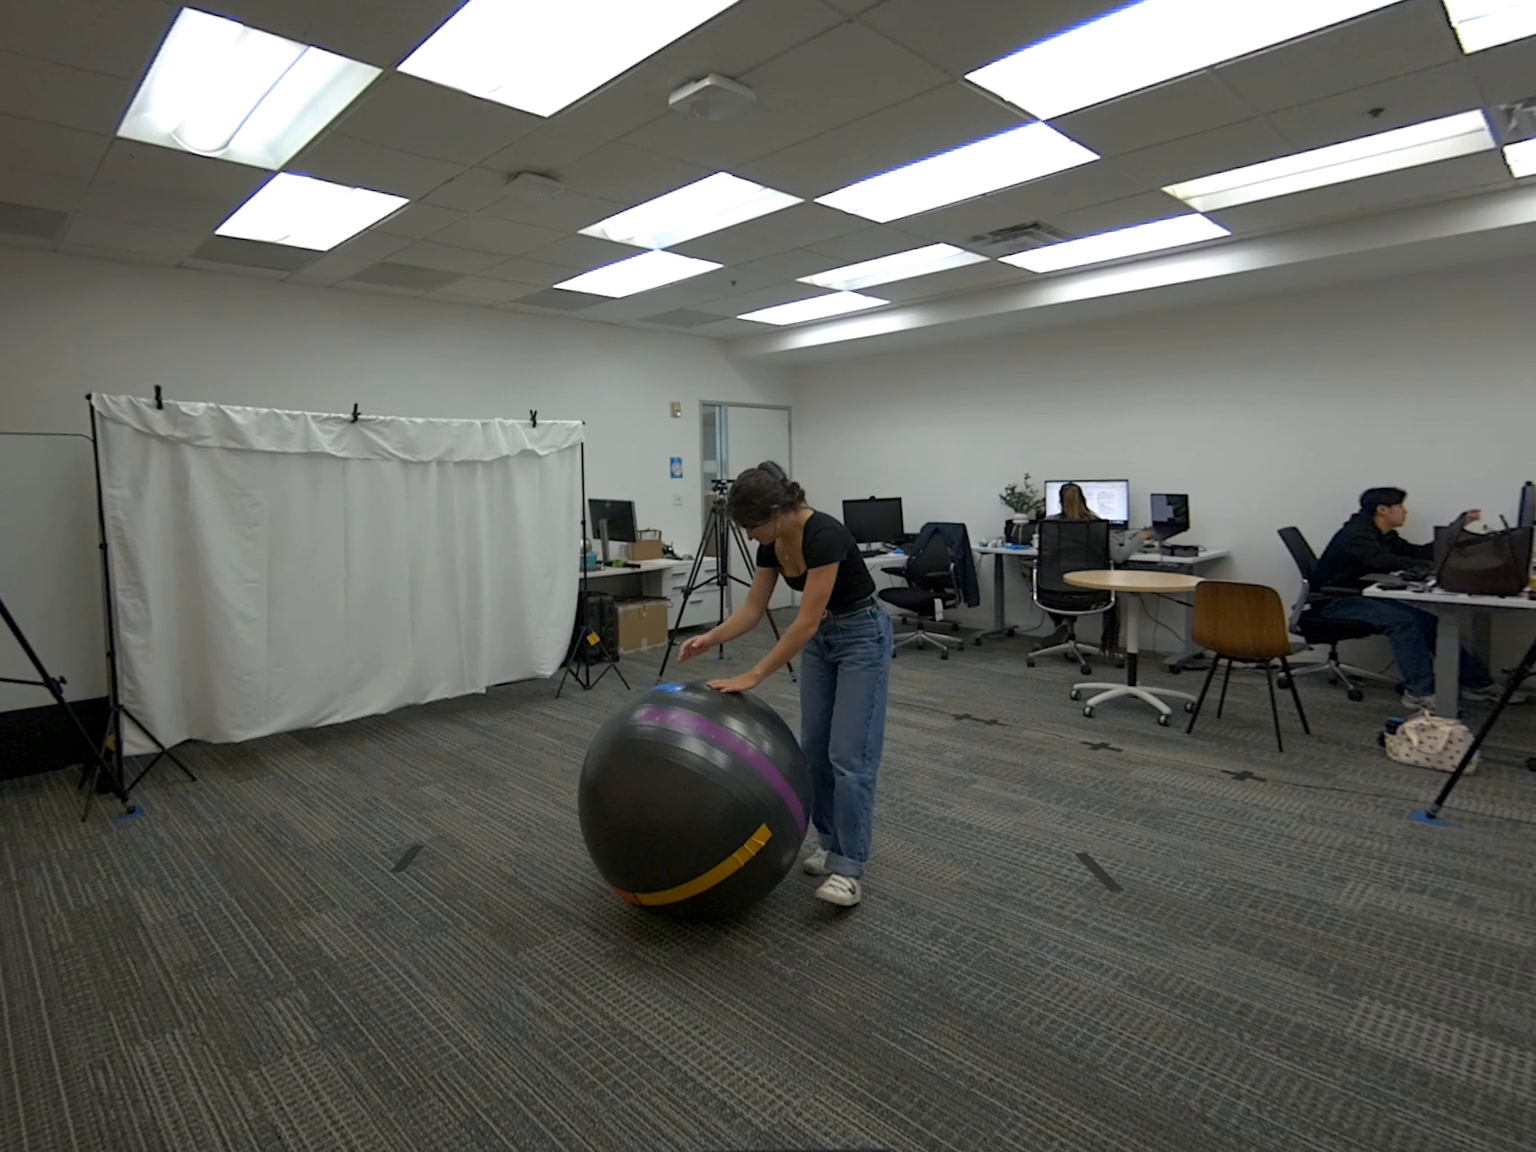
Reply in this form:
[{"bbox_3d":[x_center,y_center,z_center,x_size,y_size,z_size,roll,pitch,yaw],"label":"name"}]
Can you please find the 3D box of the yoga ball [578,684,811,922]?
[{"bbox_3d":[-0.238,0.722,2.797,0.757,0.755,0.762,-1,5,-2],"label":"yoga ball"}]
